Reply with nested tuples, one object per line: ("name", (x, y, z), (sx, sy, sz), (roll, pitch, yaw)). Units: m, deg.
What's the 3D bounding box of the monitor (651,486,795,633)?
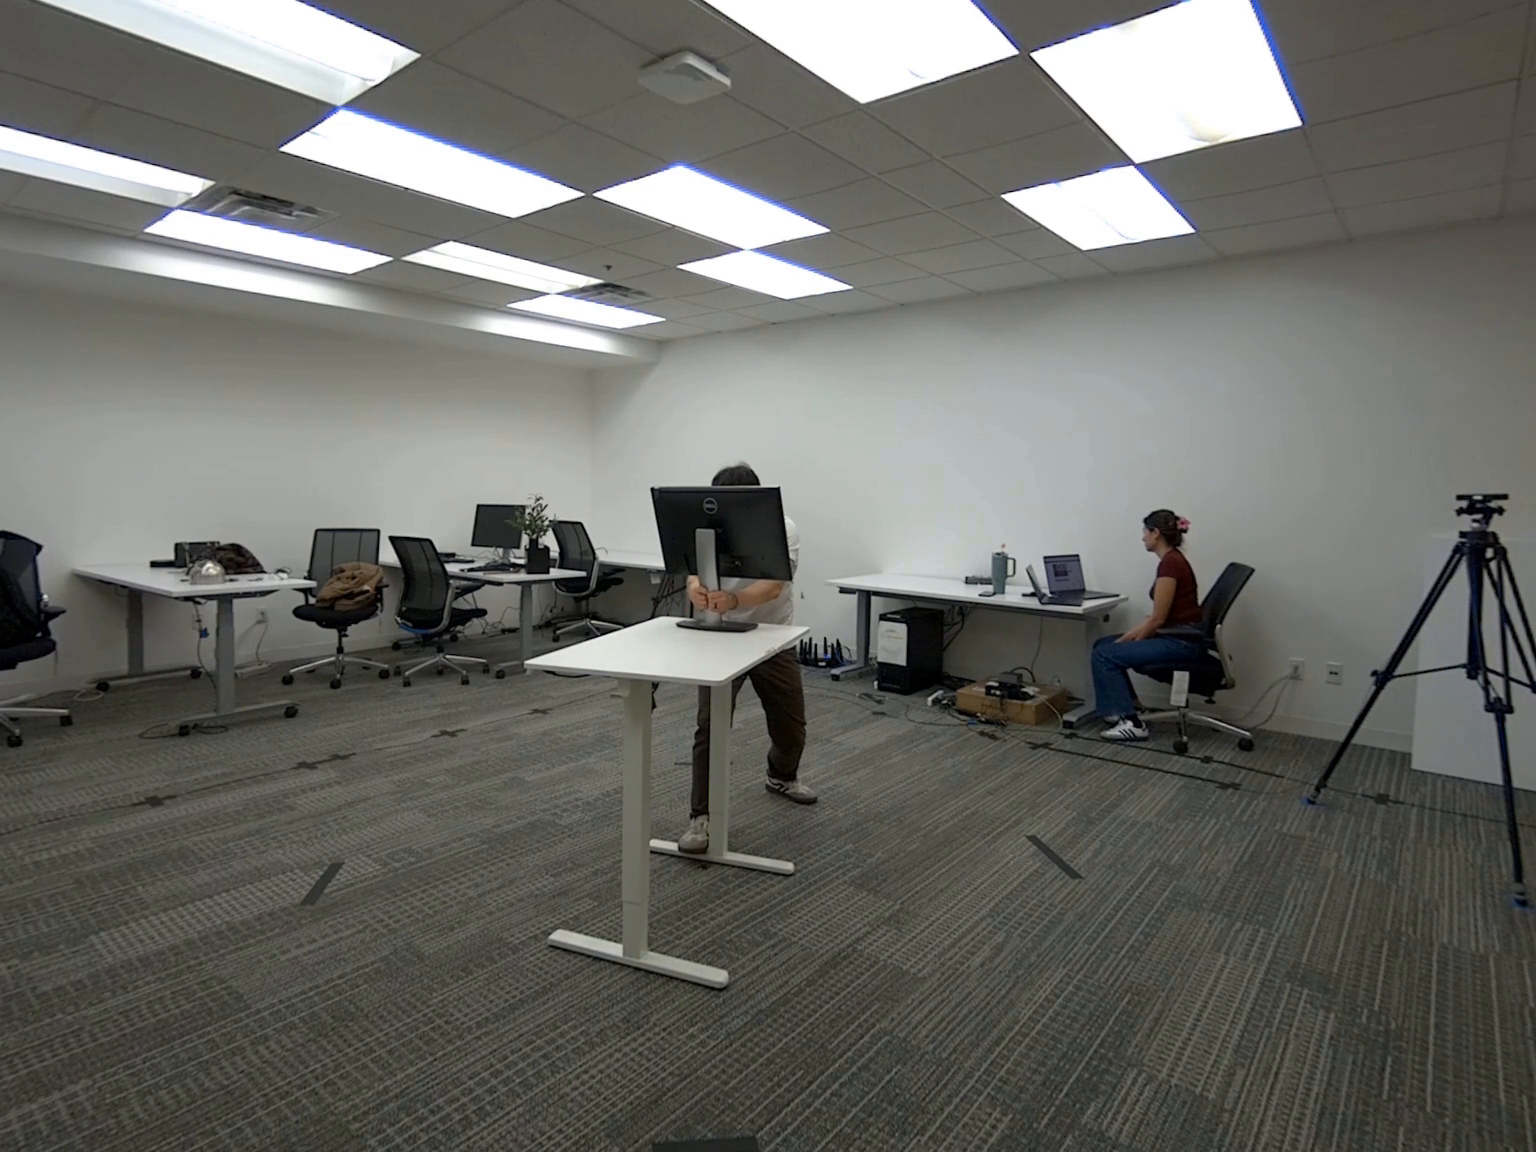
("monitor", (-0.203, -0.068, 3.094), (0.553, 0.520, 0.183), (2, 6, 26))
